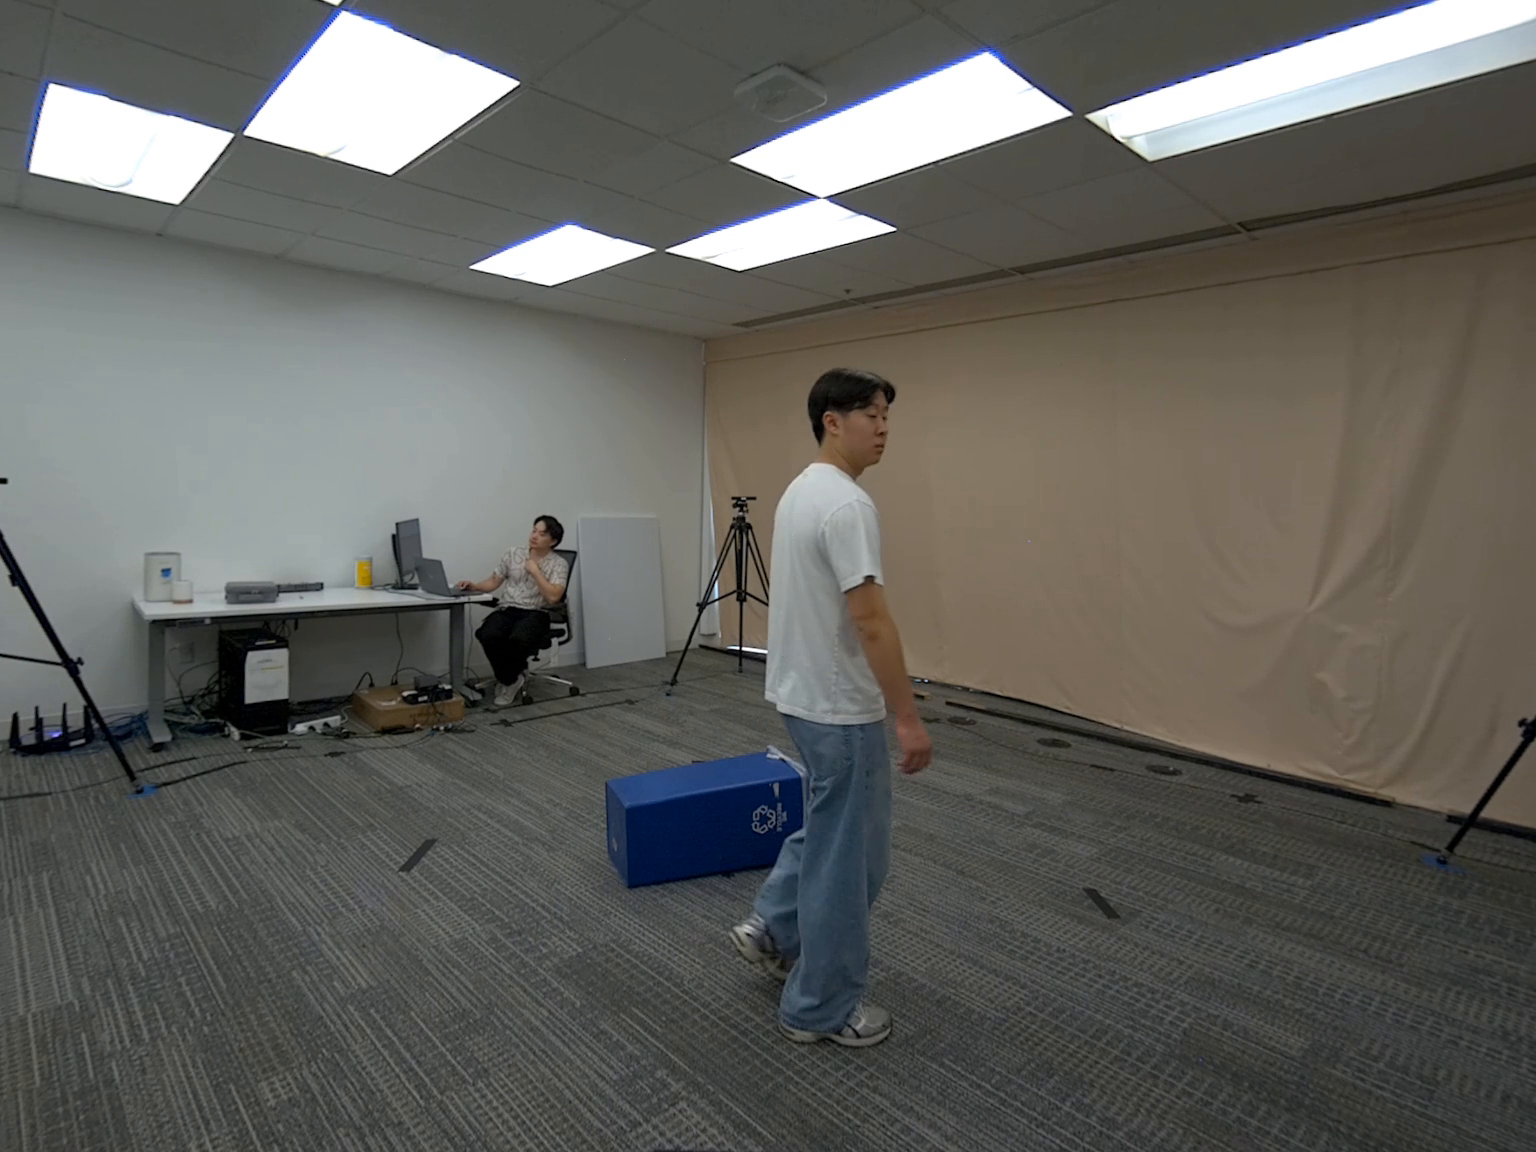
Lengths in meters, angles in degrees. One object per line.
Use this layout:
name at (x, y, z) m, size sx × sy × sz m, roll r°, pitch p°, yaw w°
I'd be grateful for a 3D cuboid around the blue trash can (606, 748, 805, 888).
blue trash can at (-0.242, 0.929, 3.228) m, size 0.702 × 0.377 × 0.381 m, roll -4°, pitch 6°, yaw -23°
